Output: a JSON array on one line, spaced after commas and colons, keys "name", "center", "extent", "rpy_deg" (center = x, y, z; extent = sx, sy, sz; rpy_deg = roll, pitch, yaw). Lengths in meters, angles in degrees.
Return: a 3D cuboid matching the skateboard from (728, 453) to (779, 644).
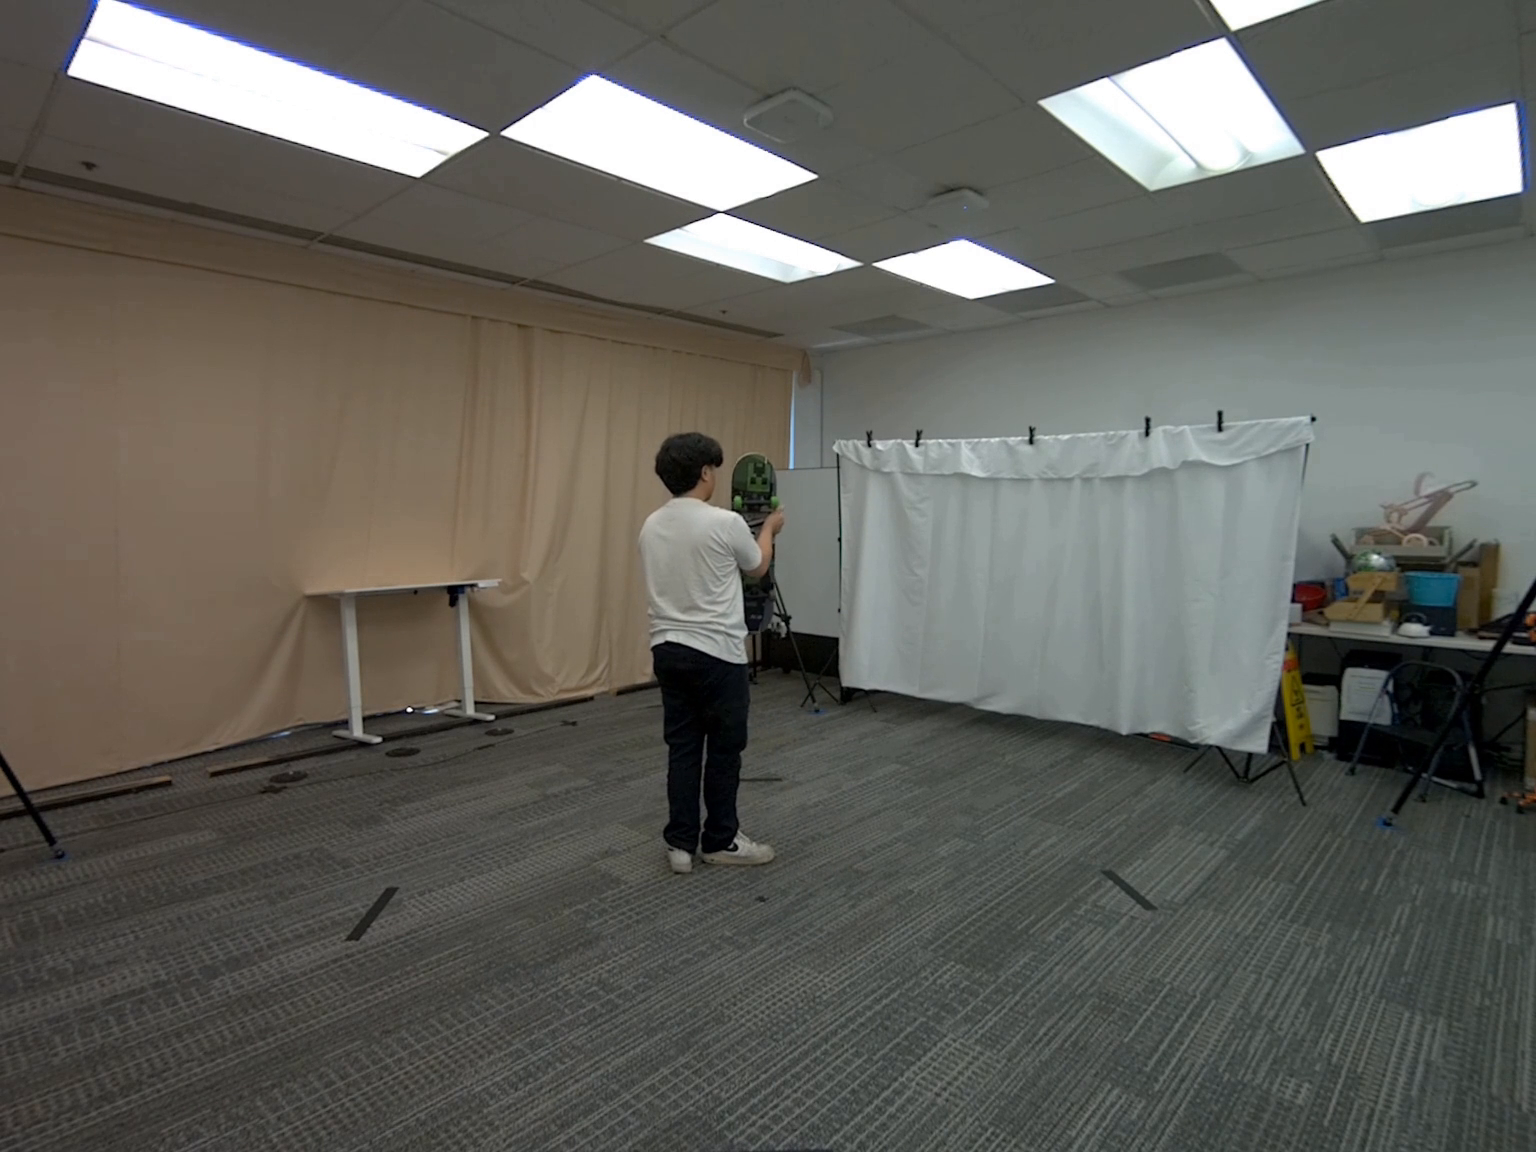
[{"name": "skateboard", "center": [-0.062, -0.115, 3.531], "extent": [0.192, 0.780, 0.111], "rpy_deg": [-1, 11, -5]}]
